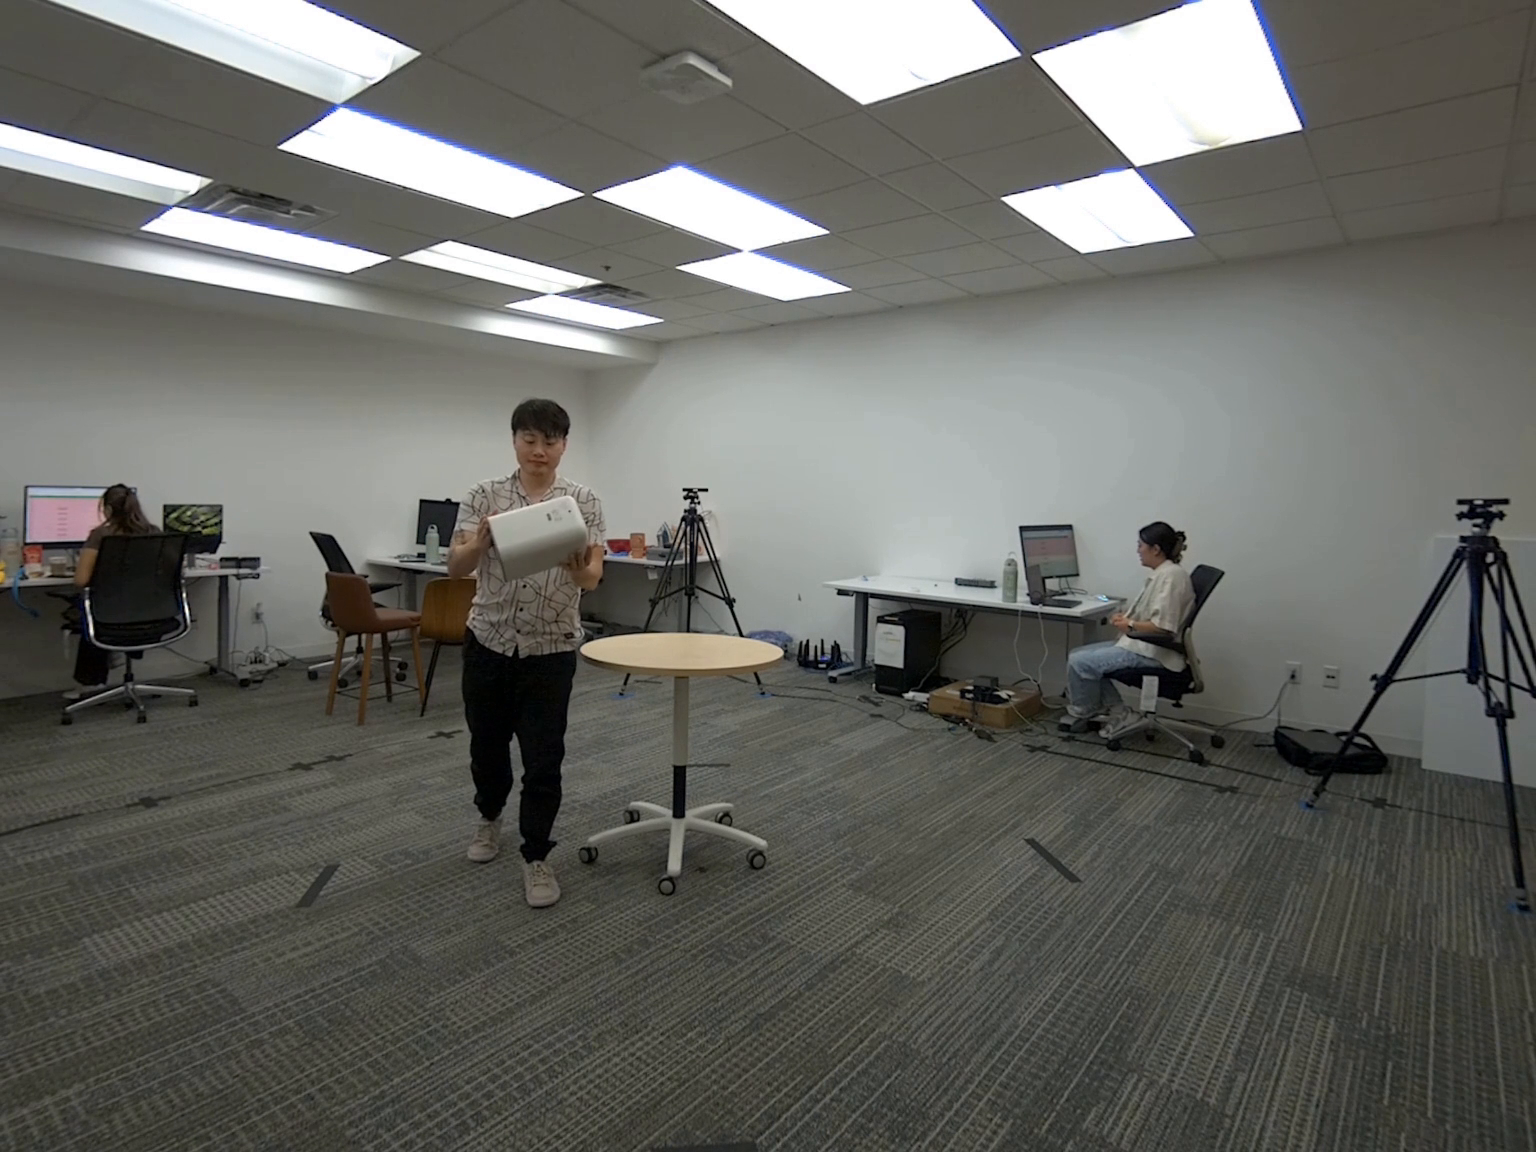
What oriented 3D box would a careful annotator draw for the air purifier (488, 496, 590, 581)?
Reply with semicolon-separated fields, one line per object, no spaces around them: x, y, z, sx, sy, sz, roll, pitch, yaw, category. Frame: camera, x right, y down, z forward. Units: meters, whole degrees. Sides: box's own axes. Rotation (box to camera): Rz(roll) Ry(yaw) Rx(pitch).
-0.689;-0.116;2.518;0.262;0.177;0.168;-19;-30;-17;air purifier
